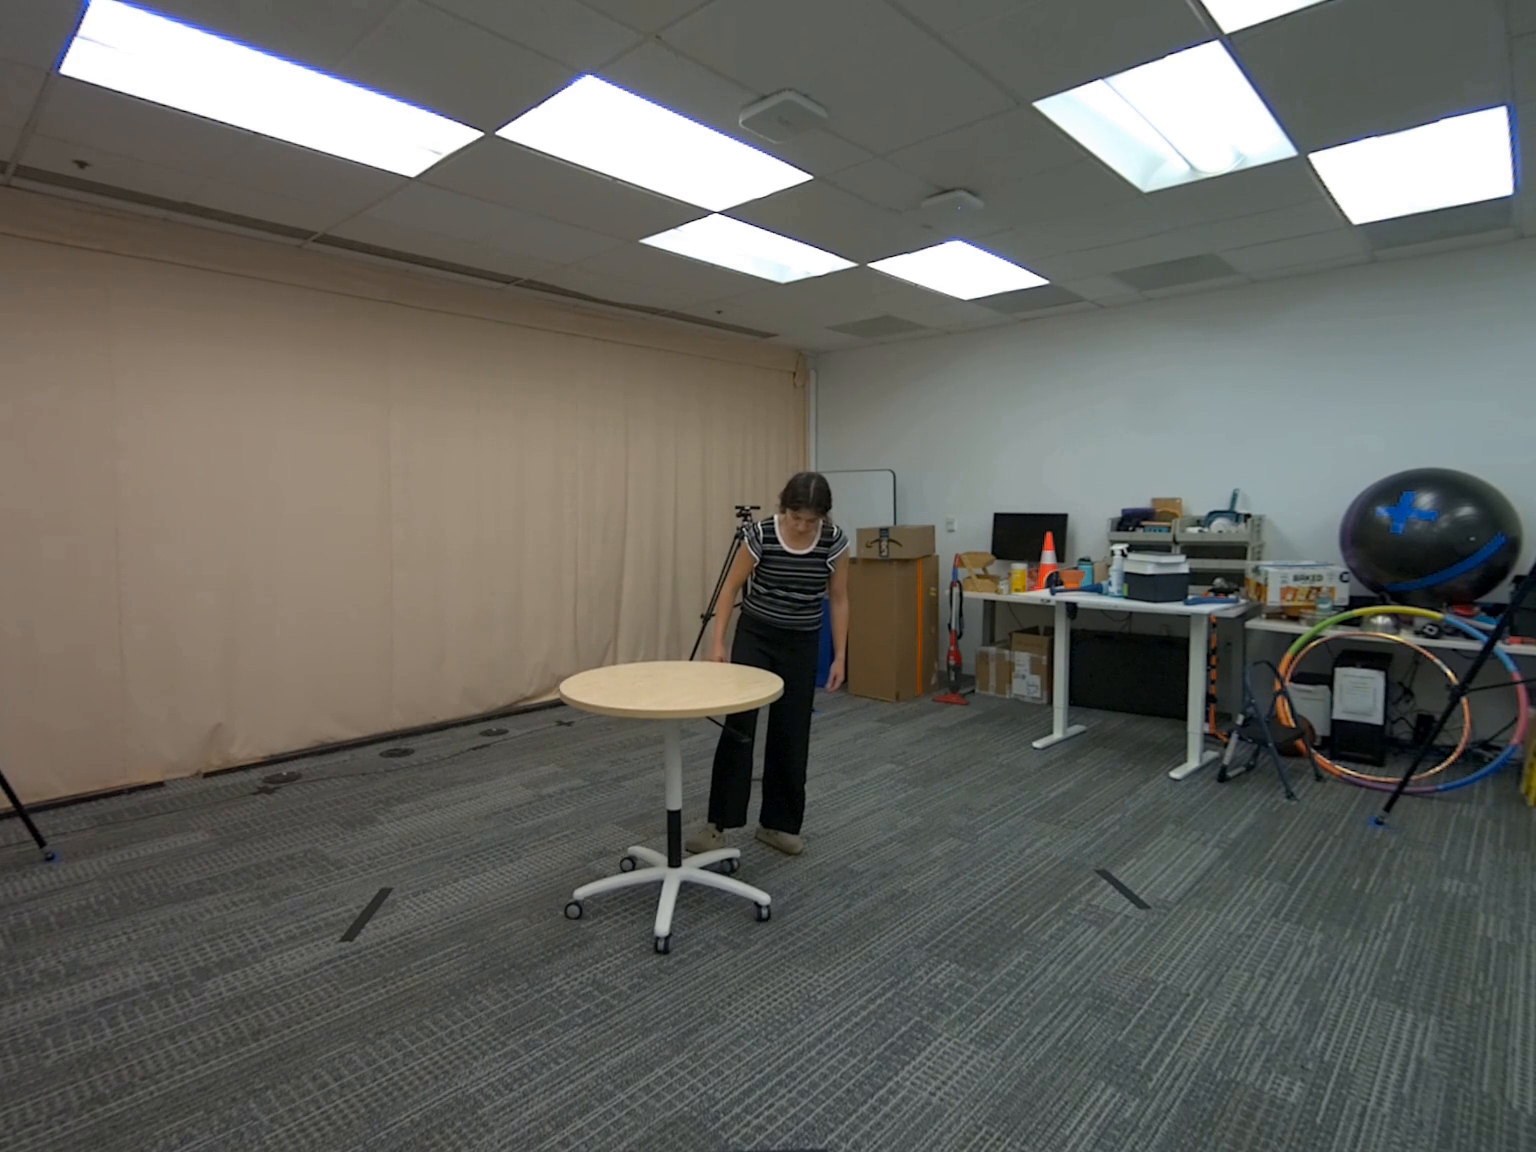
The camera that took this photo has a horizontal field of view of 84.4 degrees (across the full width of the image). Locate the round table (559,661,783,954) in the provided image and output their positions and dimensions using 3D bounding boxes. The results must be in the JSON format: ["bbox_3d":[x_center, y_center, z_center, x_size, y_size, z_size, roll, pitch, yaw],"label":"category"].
[{"bbox_3d":[-0.334,0.757,2.933,0.784,0.784,0.788,0,5,-2],"label":"round table"}]
